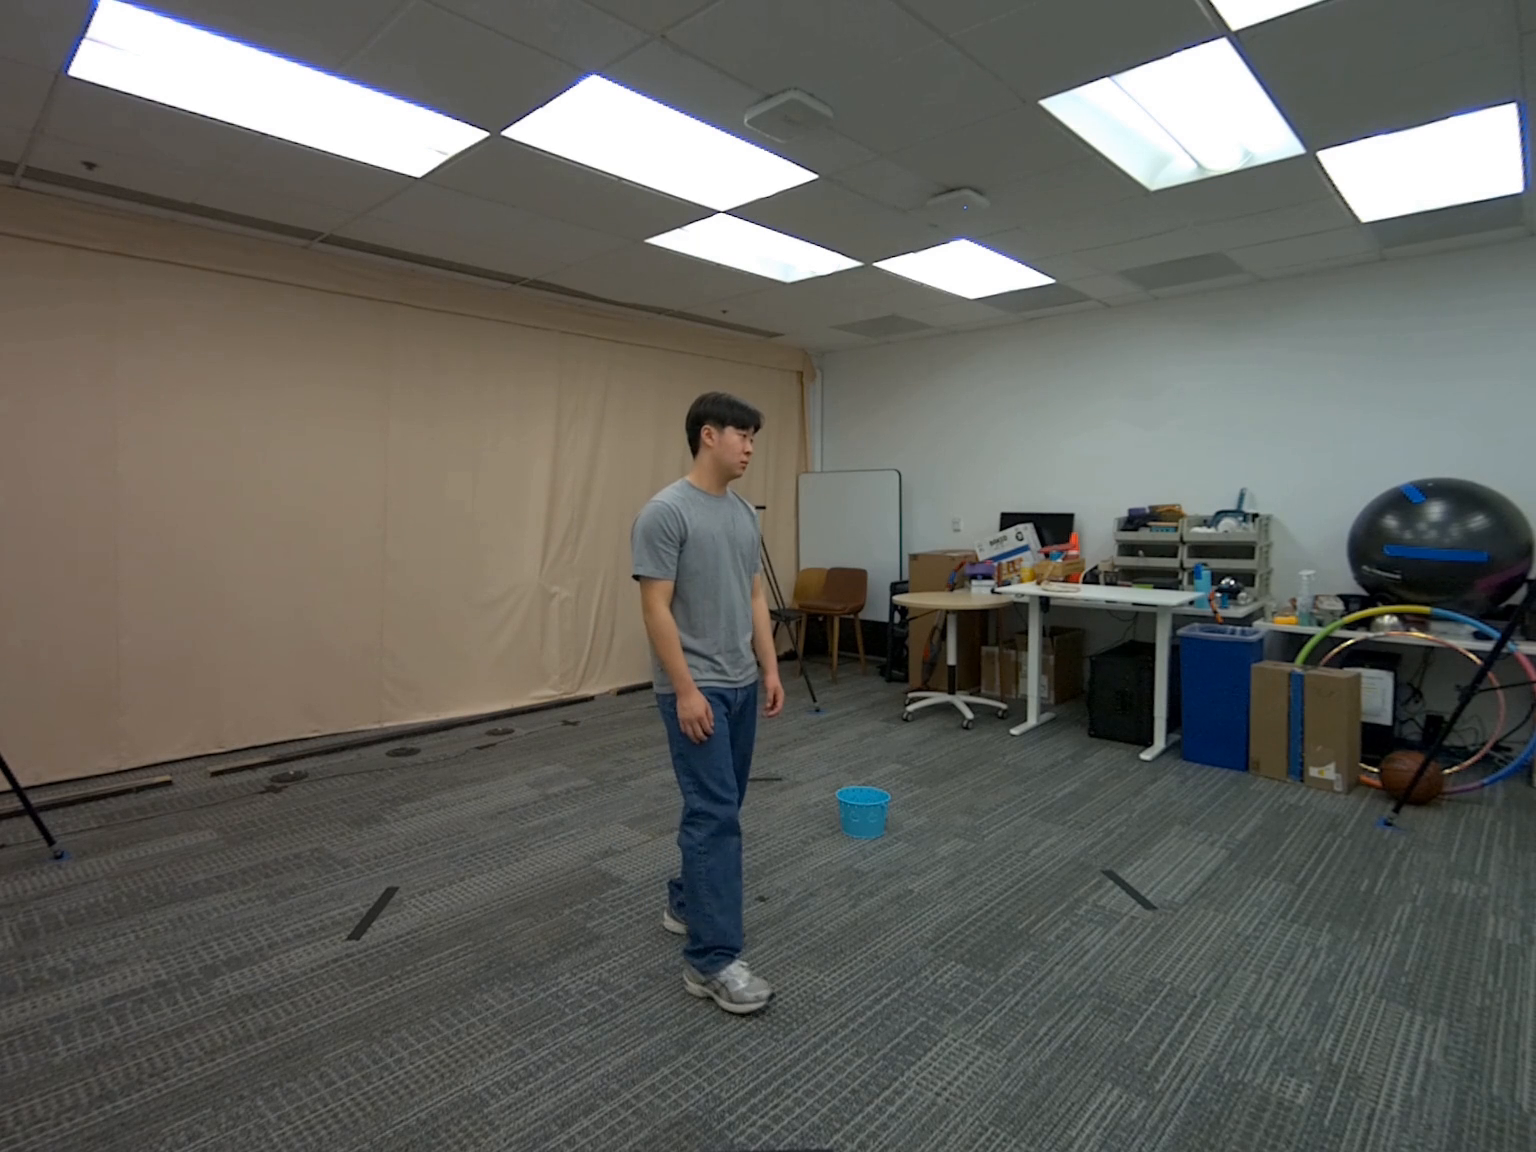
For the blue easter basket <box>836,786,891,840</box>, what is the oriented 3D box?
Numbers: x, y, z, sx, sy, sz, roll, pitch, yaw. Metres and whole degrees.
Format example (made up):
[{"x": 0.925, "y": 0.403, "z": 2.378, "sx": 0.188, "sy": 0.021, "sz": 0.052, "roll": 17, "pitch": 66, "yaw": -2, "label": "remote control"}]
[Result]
[{"x": 0.414, "y": 1.010, "z": 3.609, "sx": 0.243, "sy": 0.155, "sz": 0.244, "roll": -1, "pitch": 5, "yaw": -2, "label": "blue easter basket"}]
